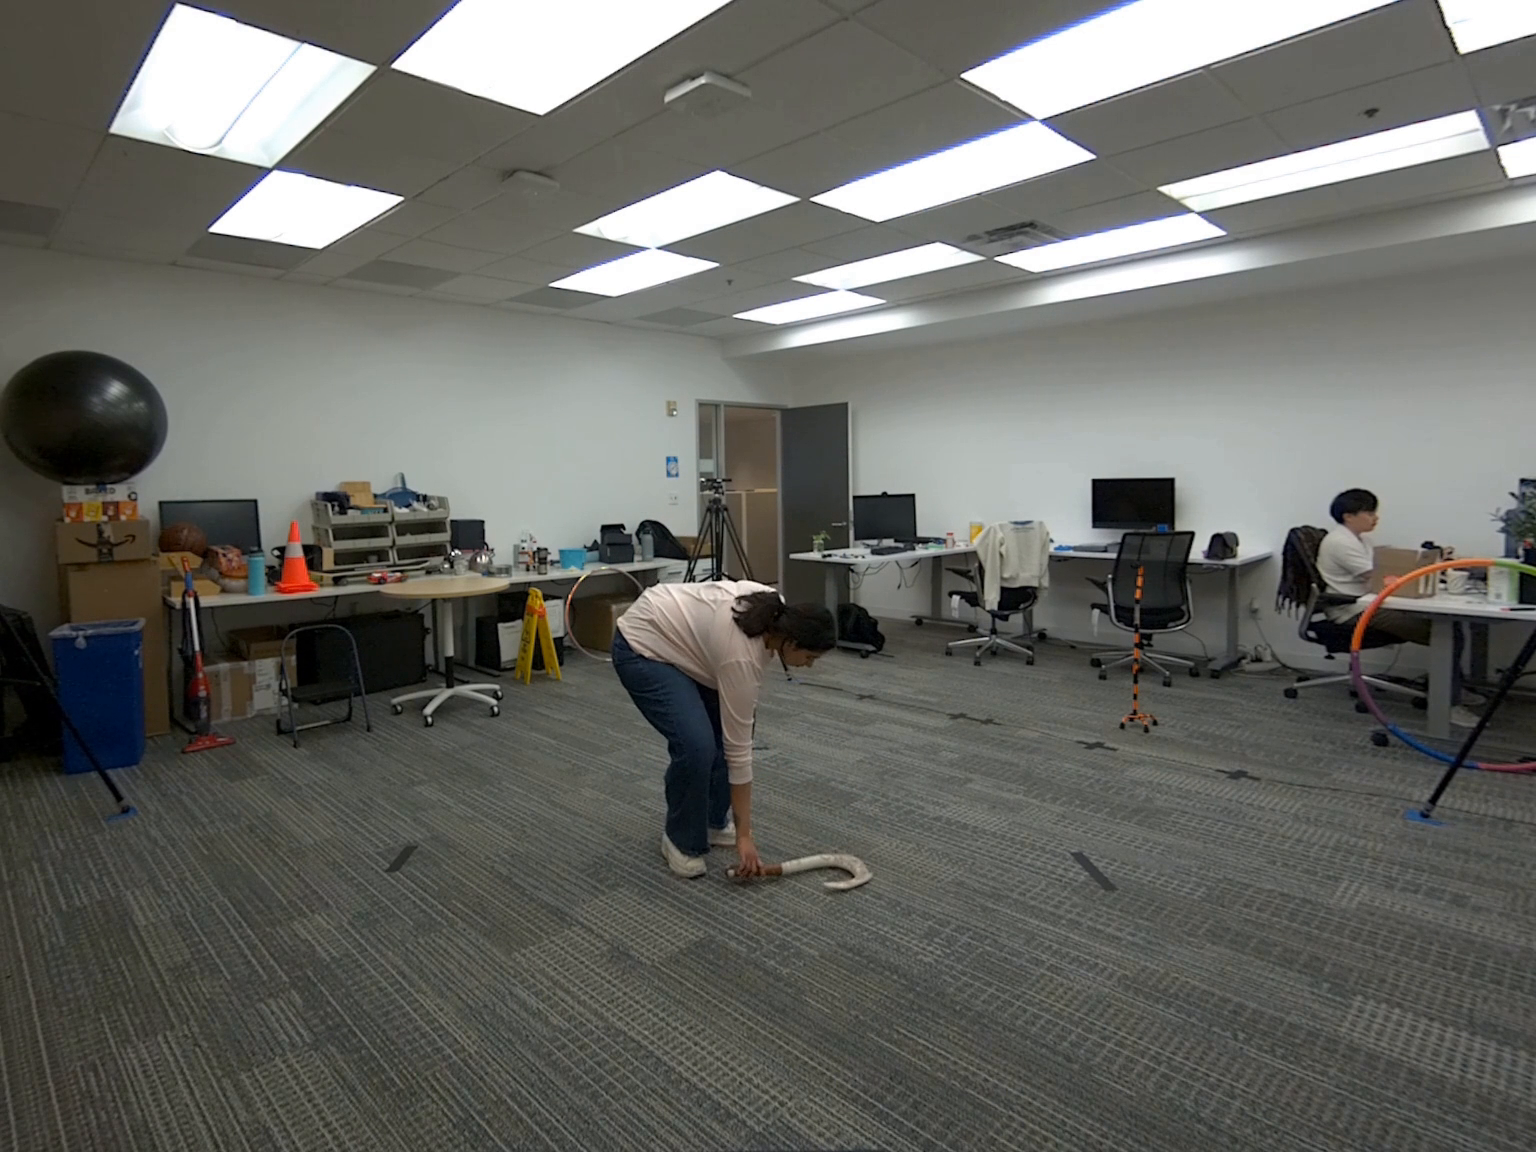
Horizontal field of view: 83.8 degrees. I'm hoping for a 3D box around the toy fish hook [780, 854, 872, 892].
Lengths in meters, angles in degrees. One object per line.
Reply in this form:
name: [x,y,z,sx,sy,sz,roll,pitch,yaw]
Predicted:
toy fish hook: [0.106,1.023,2.947,0.500,0.048,0.228,0,5,-14]
